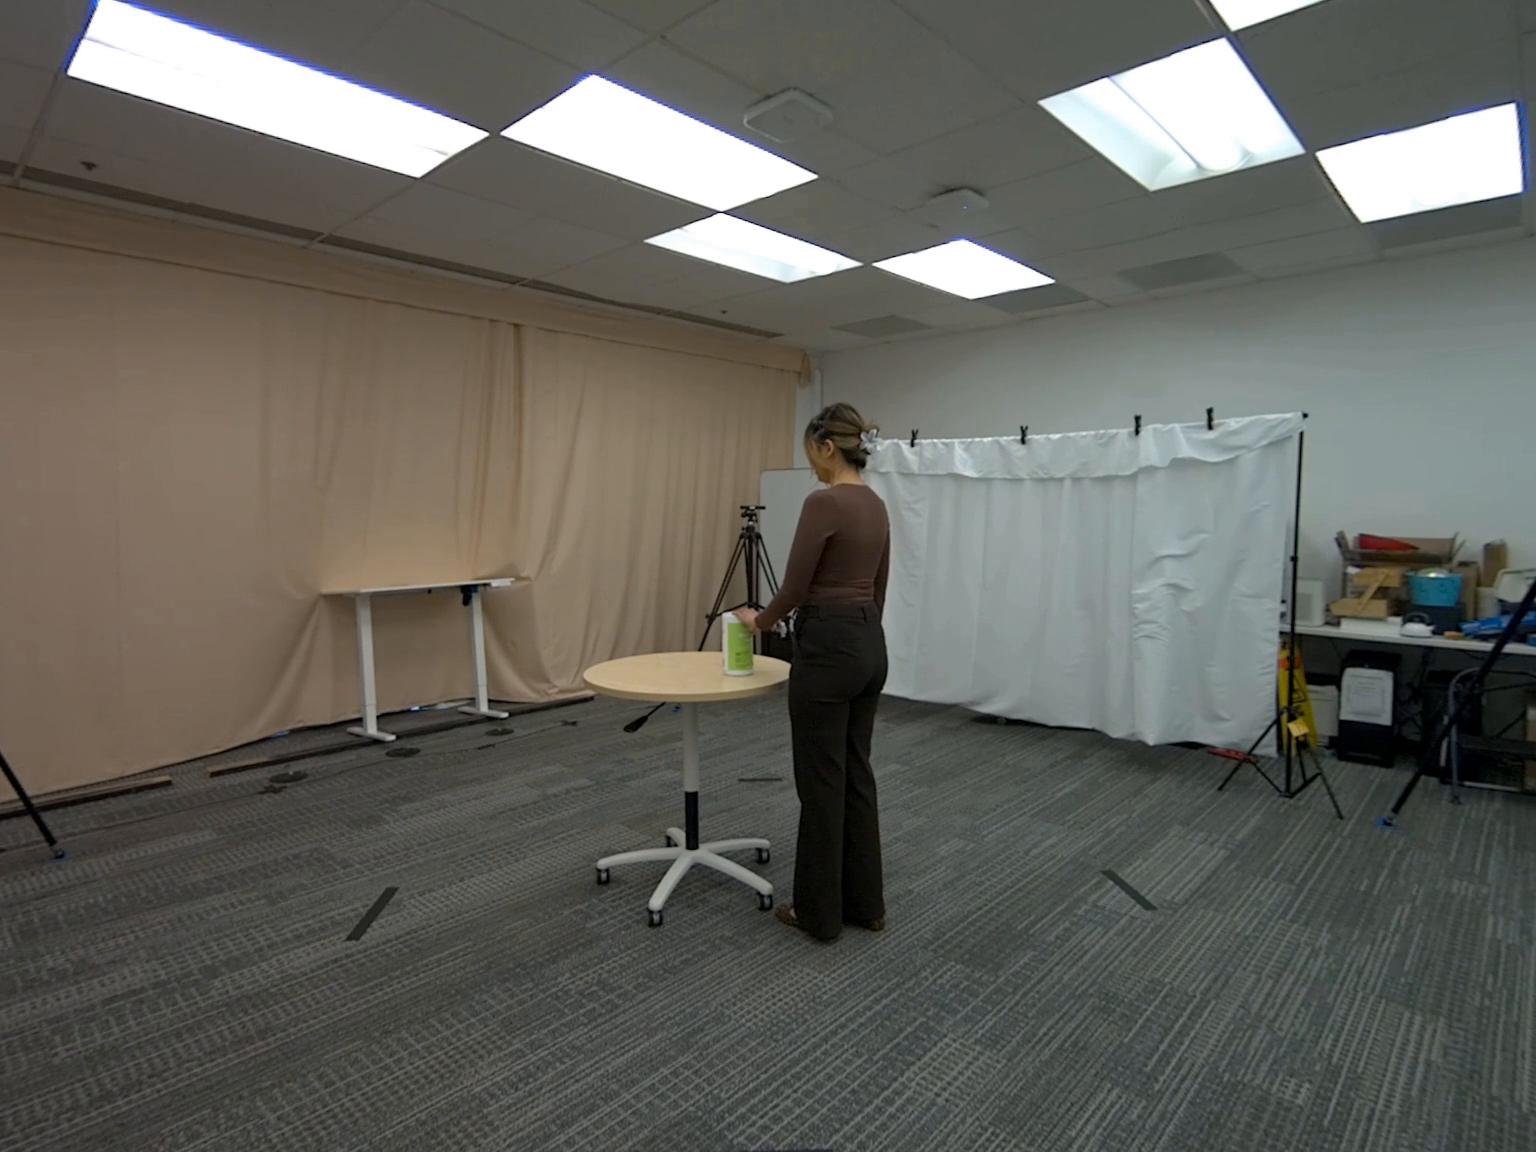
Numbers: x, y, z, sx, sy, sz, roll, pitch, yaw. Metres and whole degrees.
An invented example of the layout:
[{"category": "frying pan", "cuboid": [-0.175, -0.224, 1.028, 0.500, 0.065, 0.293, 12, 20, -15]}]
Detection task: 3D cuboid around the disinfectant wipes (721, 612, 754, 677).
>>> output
[{"category": "disinfectant wipes", "cuboid": [-0.102, 0.242, 2.981, 0.117, 0.217, 0.118, 1, 5, -2]}]
